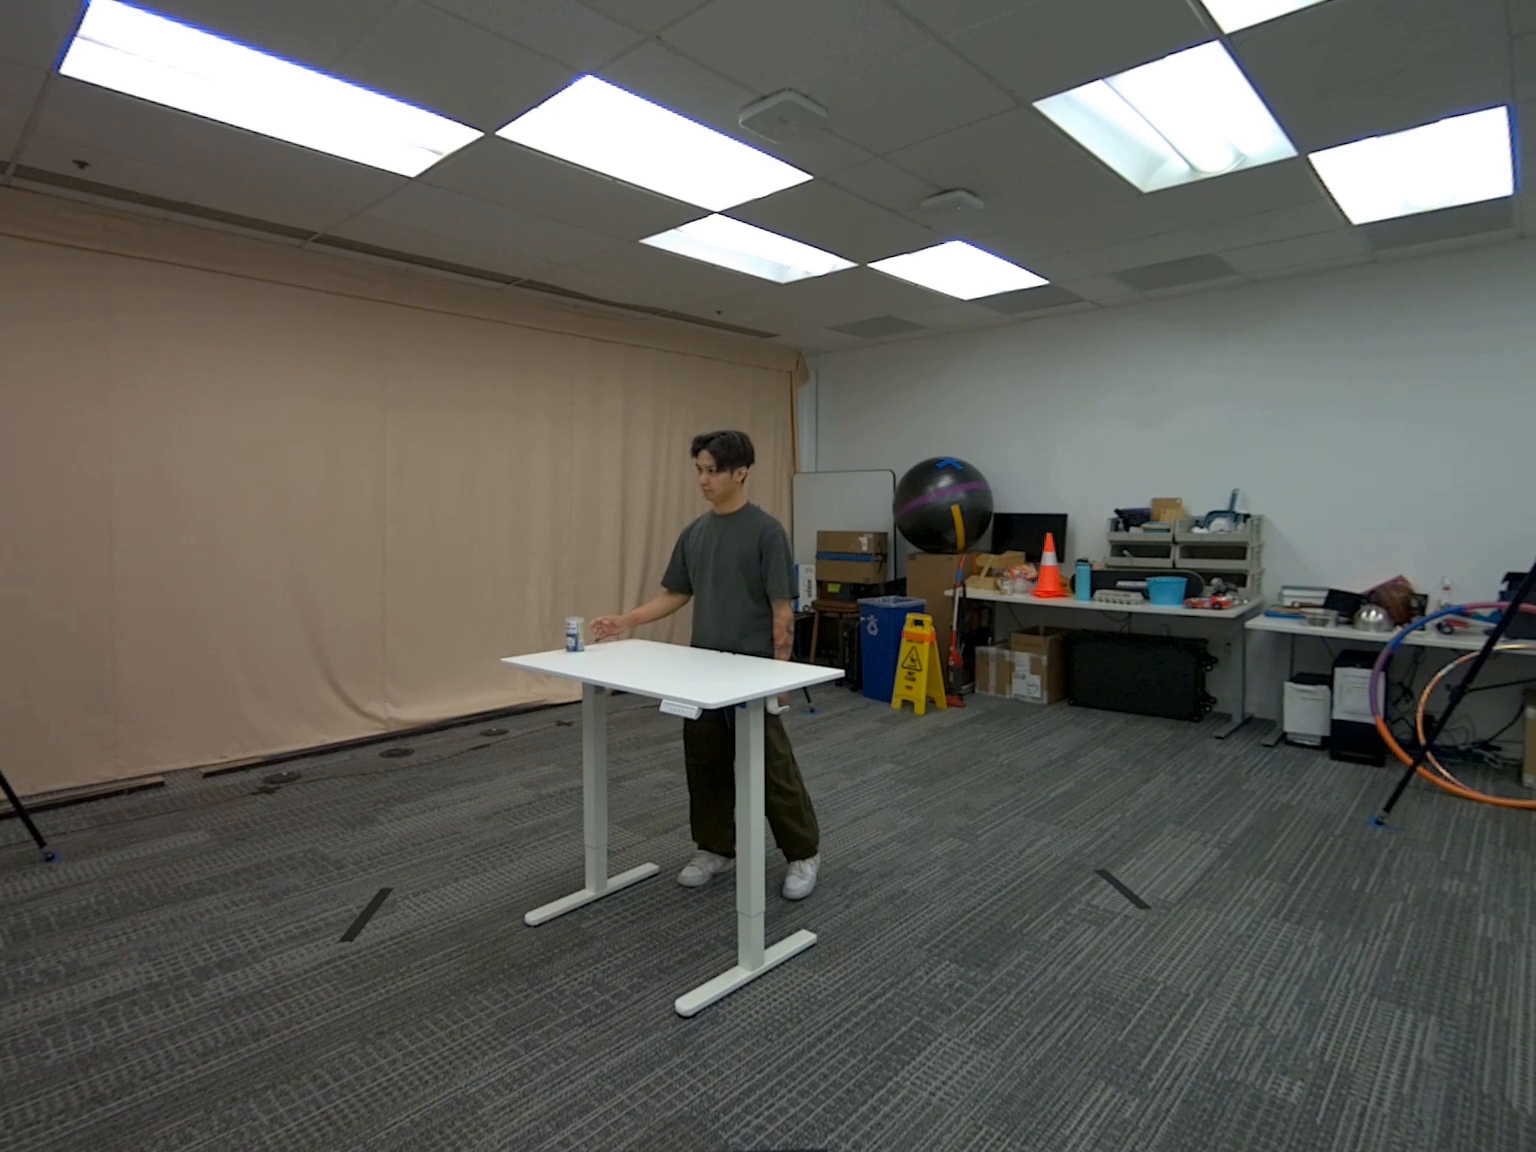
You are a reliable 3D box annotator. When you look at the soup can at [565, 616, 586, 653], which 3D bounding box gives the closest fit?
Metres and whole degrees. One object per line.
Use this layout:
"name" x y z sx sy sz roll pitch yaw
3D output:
"soup can" -0.686 0.210 3.009 0.067 0.121 0.067 -1 1 -2
